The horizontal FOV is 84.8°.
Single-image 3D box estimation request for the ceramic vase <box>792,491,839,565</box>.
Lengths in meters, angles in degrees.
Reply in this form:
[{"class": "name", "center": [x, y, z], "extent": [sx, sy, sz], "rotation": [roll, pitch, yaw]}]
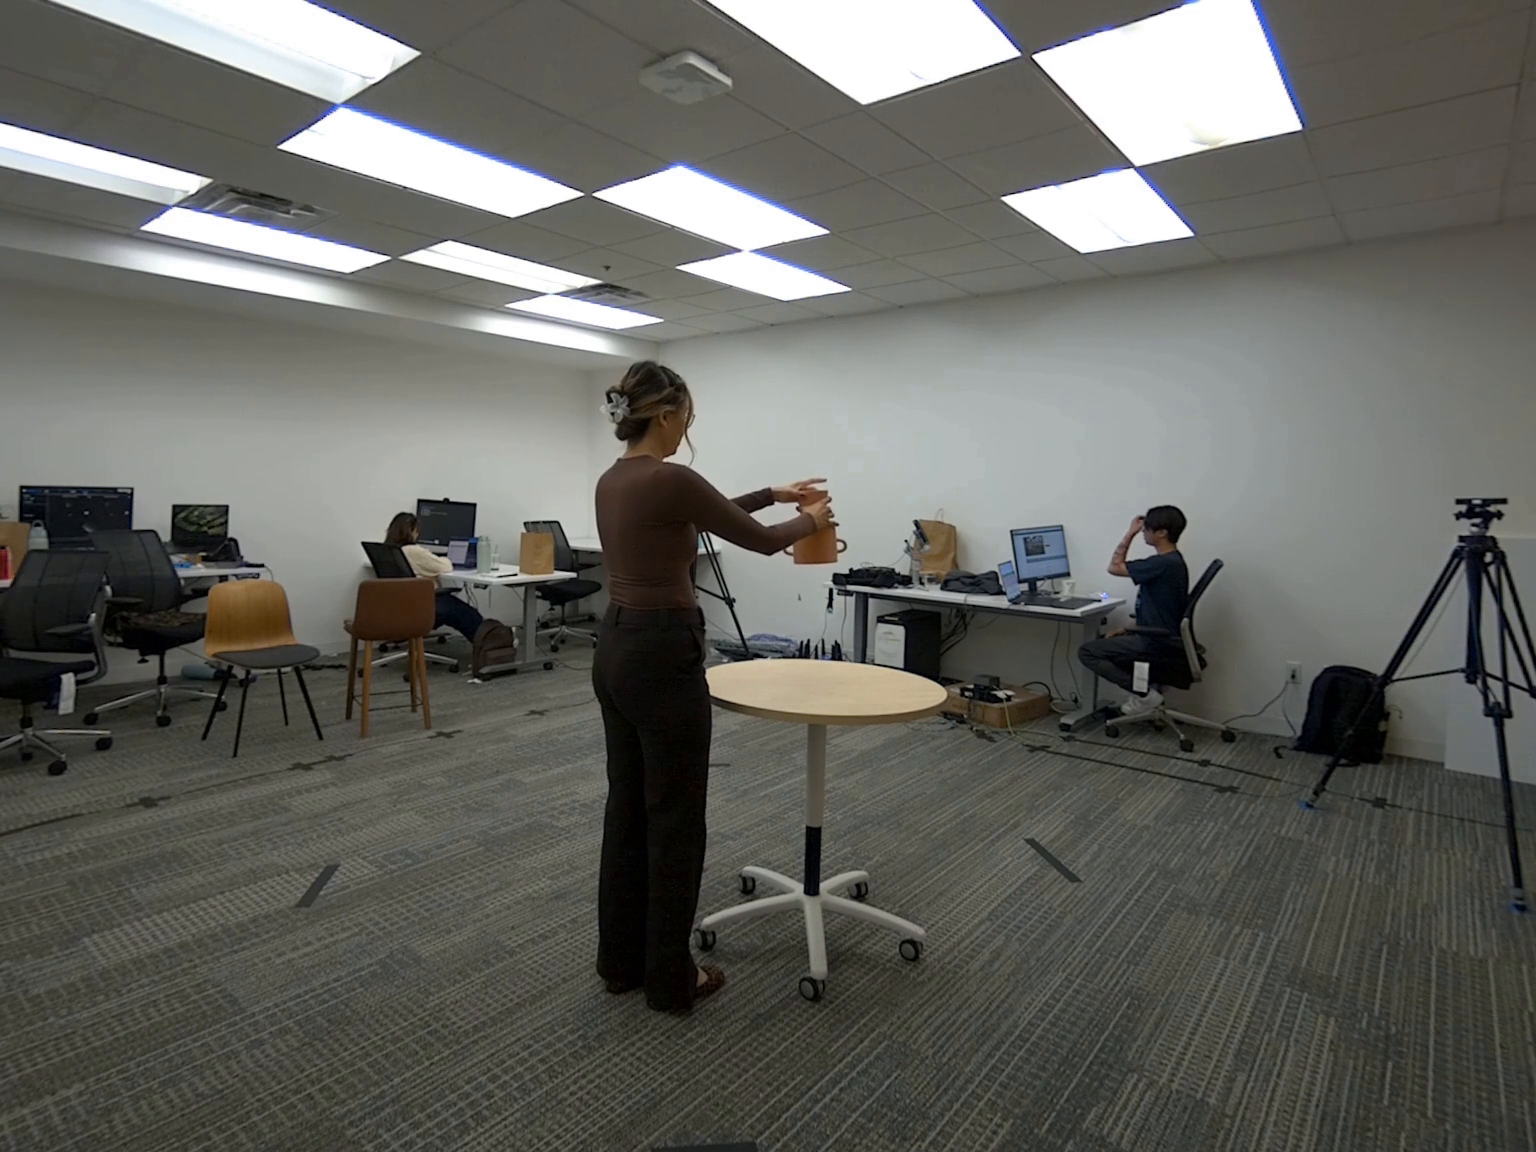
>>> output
[{"class": "ceramic vase", "center": [0.129, -0.149, 2.586], "extent": [0.154, 0.219, 0.139], "rotation": [-4, 5, -43]}]
